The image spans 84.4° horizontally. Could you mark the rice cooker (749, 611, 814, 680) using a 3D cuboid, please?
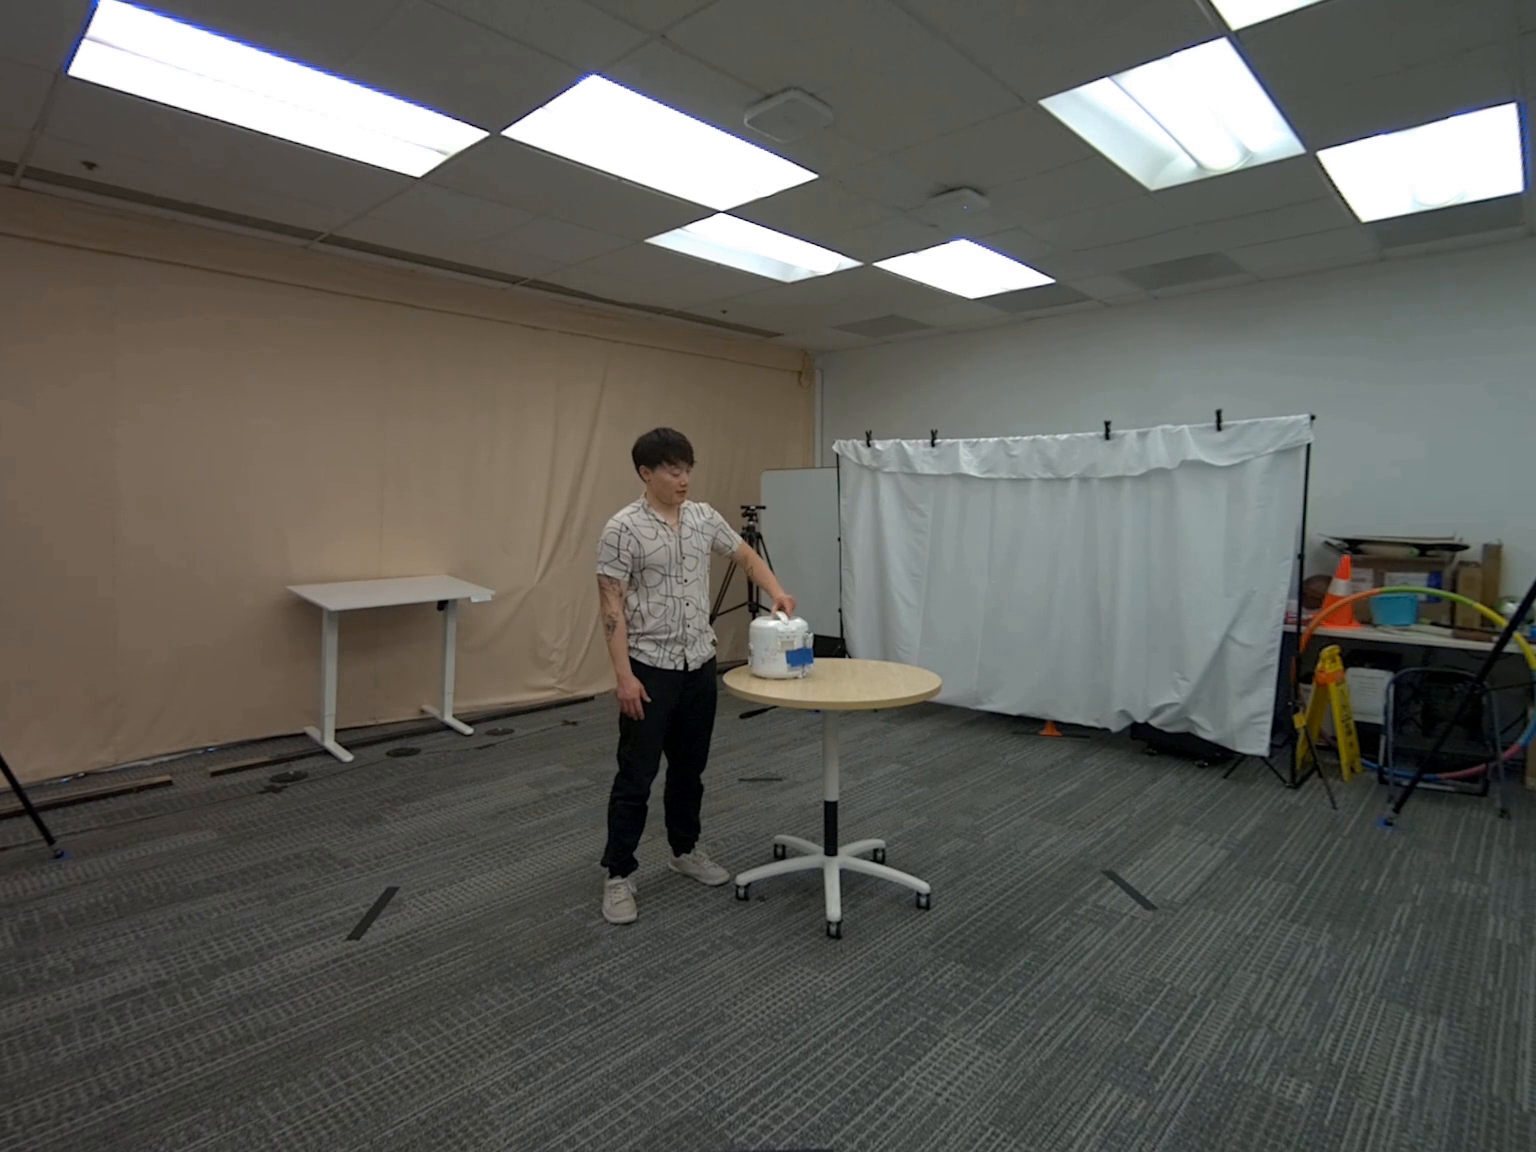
[{"bbox_3d":[0.043,0.245,3.020,0.214,0.232,0.224,-1,2,-14],"label":"rice cooker"}]
